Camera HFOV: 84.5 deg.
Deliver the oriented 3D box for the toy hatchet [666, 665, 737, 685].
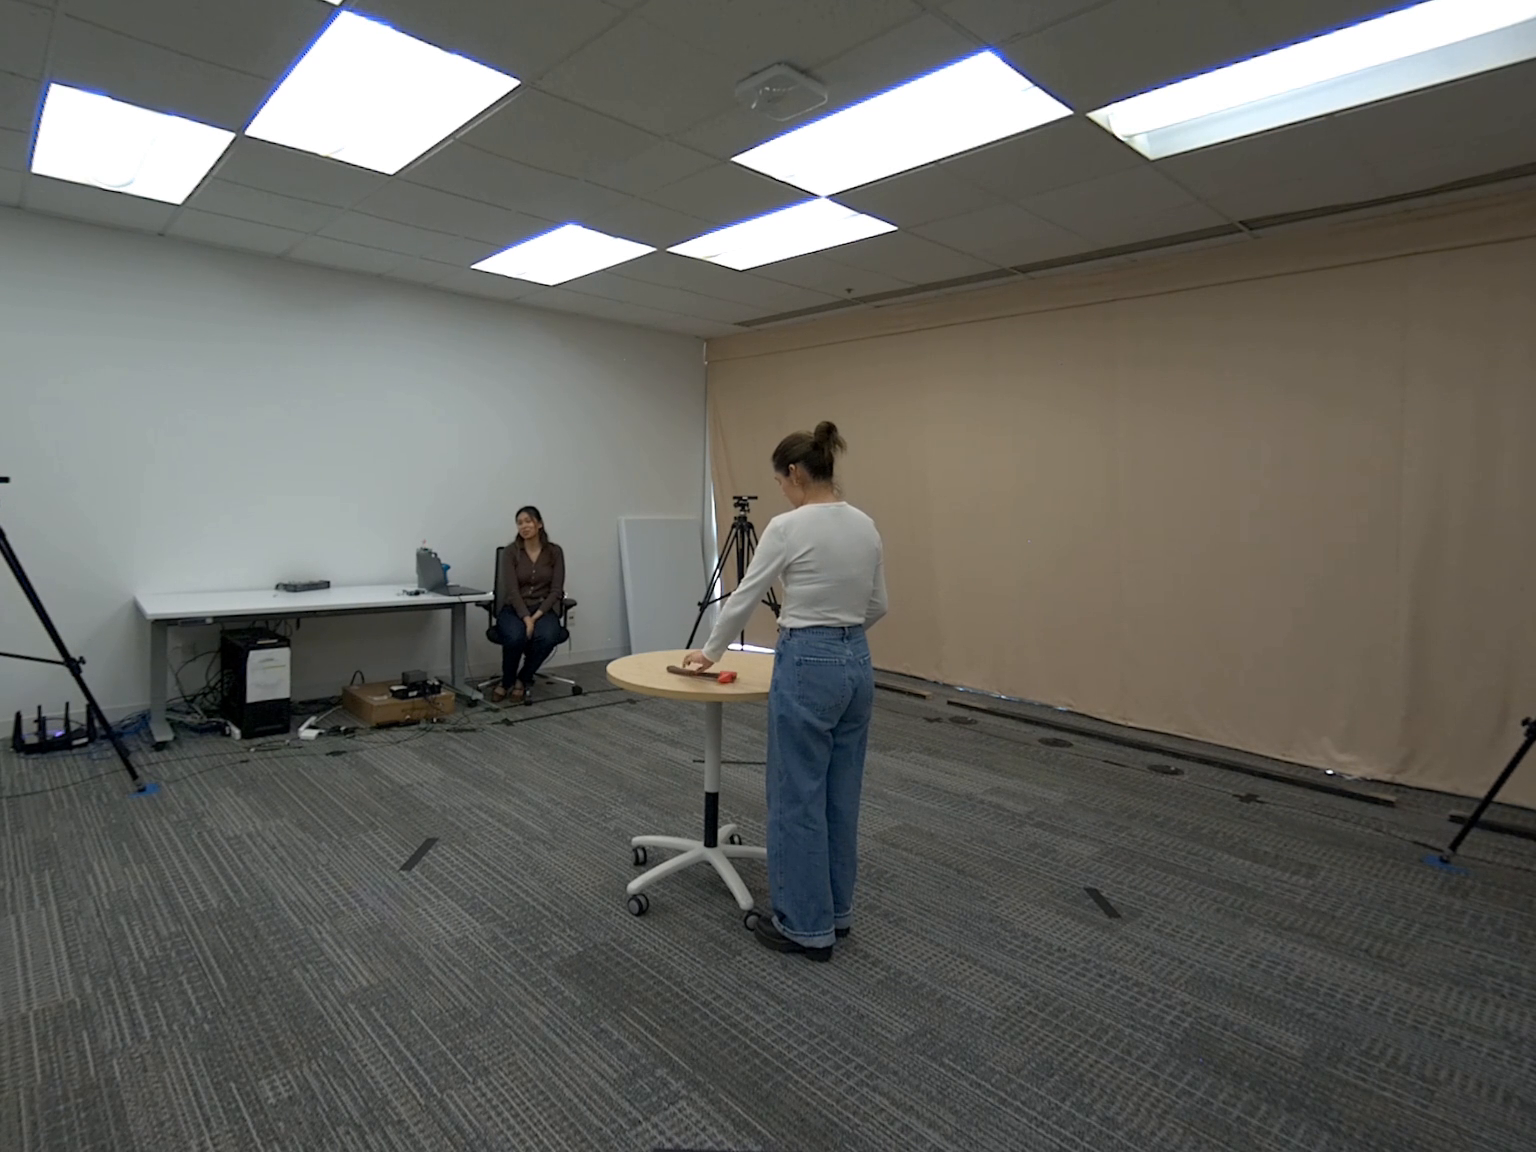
[{"bbox_3d":[-0.223,0.325,2.852,0.277,0.029,0.128,4,5,41],"label":"toy hatchet"}]
